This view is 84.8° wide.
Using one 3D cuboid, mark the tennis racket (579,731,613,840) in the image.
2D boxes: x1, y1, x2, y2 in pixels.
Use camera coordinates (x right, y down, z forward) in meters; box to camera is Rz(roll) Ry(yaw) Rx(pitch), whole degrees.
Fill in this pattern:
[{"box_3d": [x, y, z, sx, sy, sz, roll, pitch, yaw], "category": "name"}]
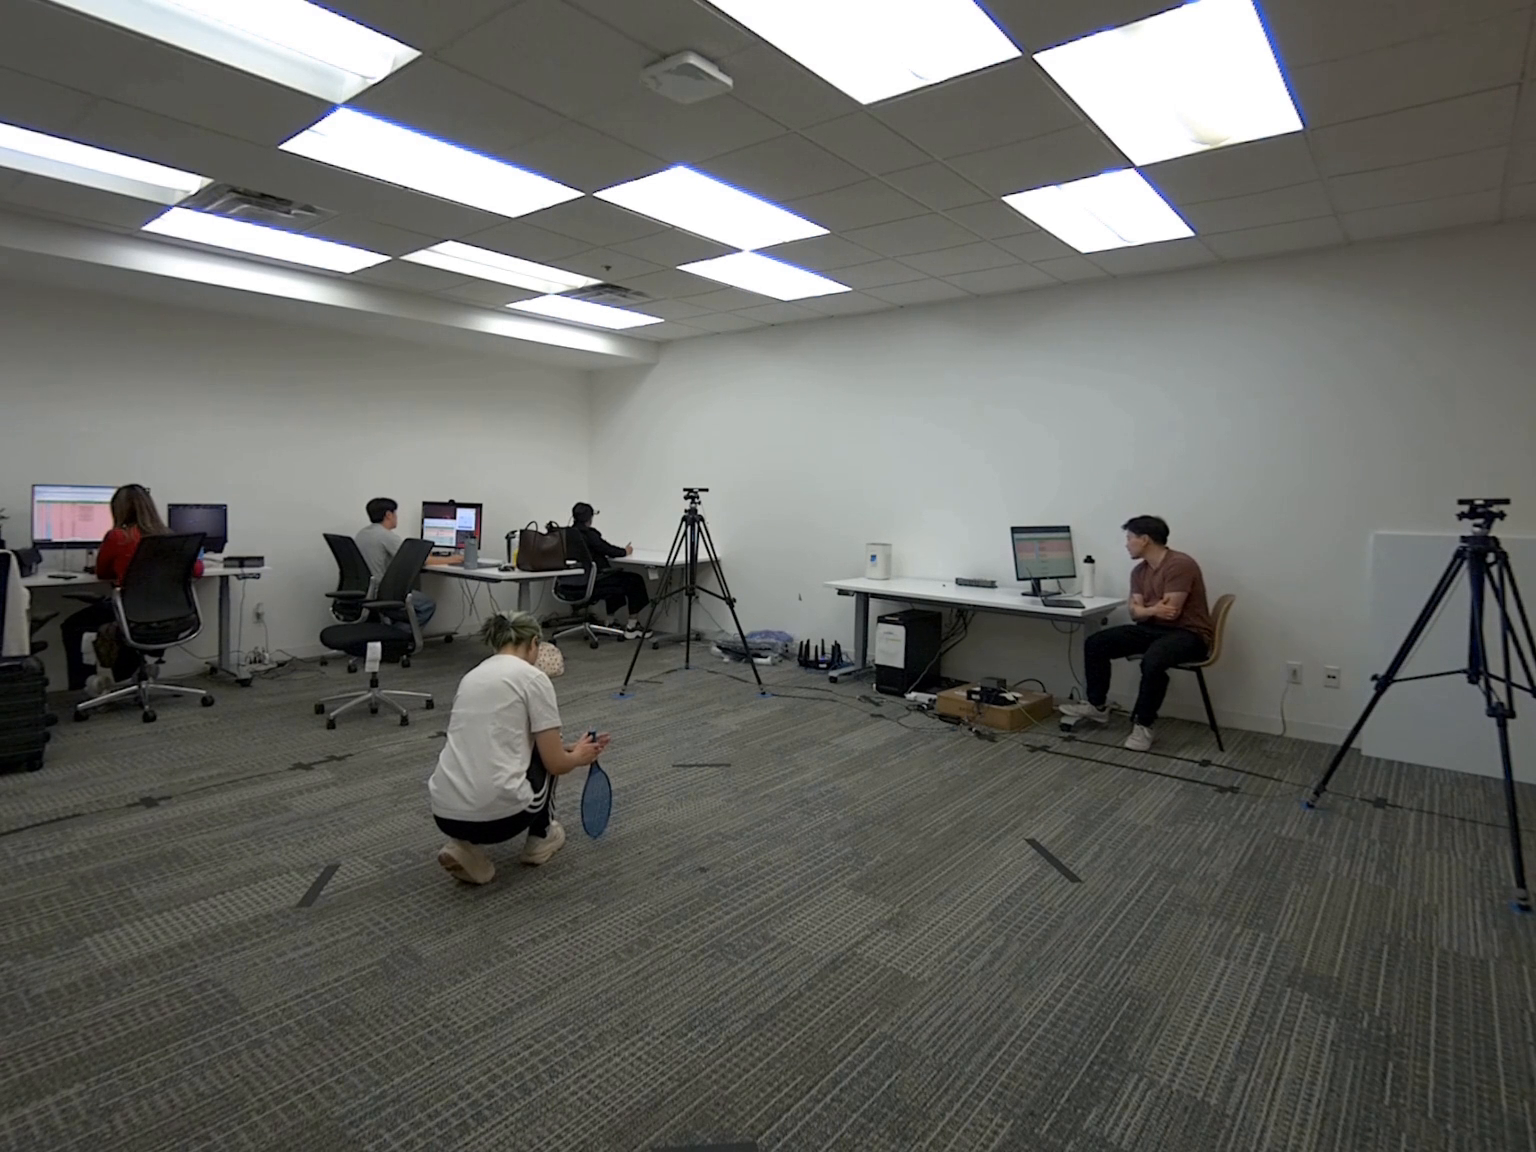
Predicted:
[{"box_3d": [-0.699, 0.822, 3.374, 0.032, 0.430, 0.210, 0, 6, 20], "category": "tennis racket"}]
